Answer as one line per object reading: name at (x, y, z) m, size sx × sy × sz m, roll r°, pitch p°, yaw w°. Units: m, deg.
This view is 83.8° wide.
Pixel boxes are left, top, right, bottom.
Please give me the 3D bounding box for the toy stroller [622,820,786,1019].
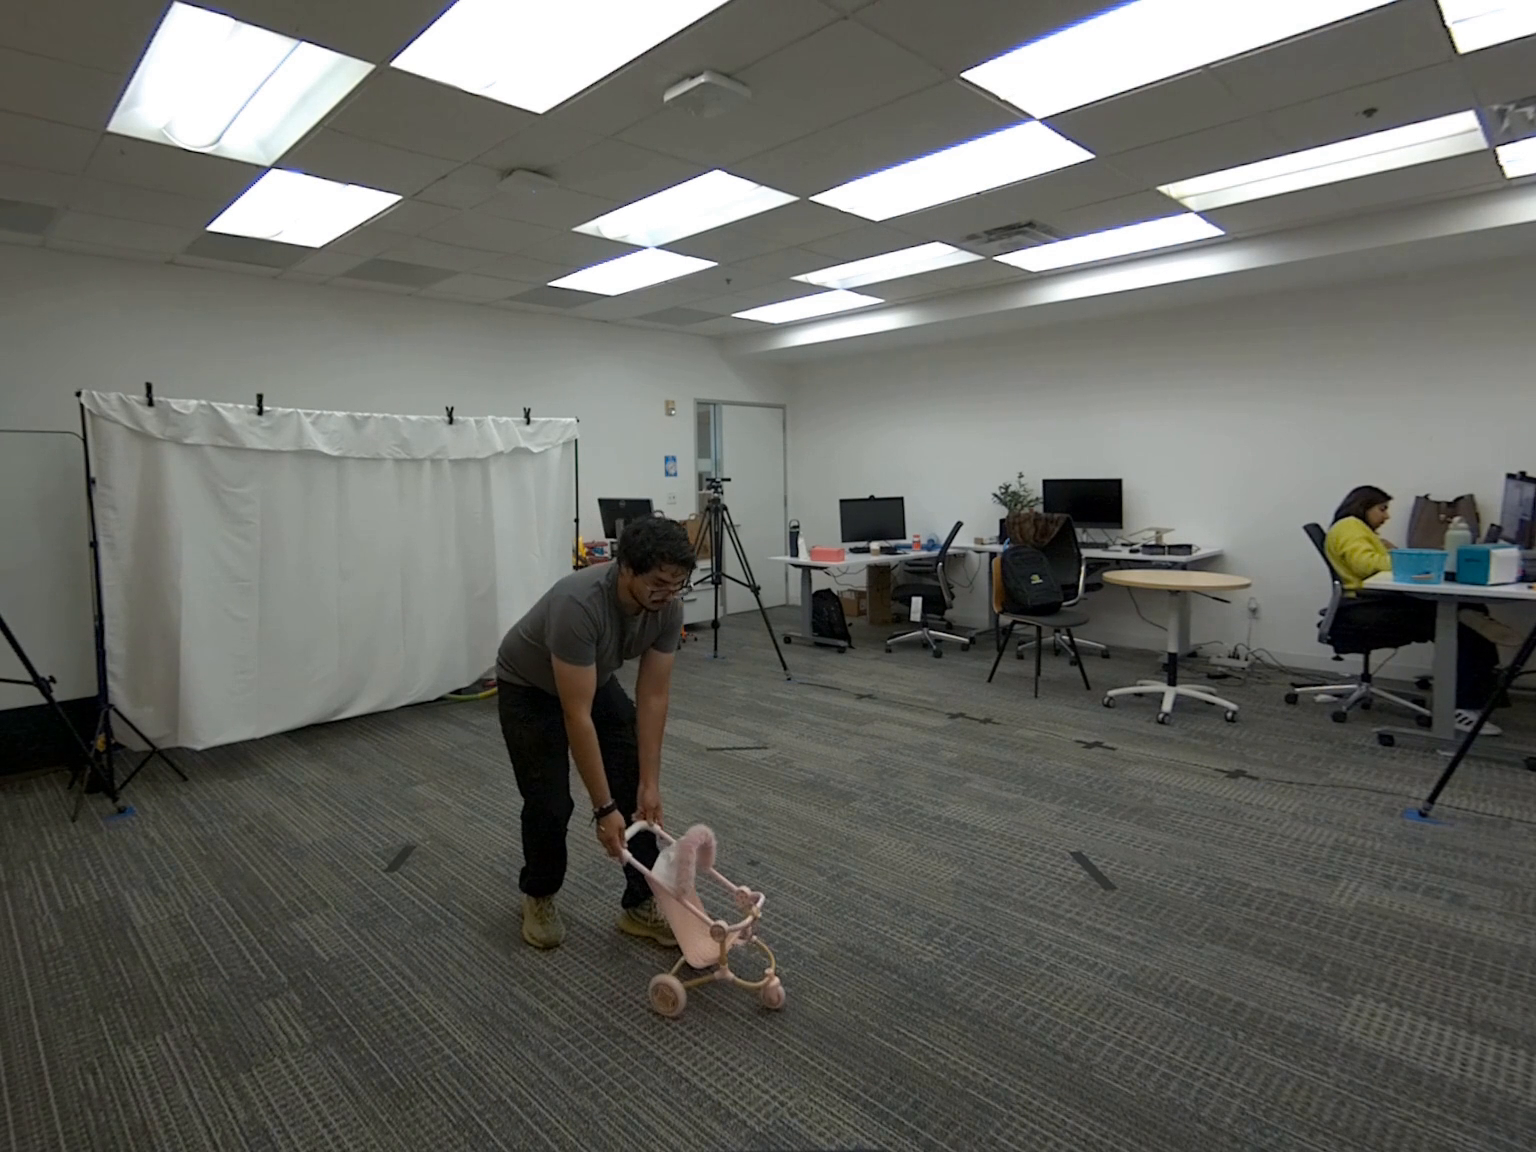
toy stroller at (-0.163, 0.916, 2.309) m, size 0.346 × 0.537 × 0.276 m, roll -17°, pitch -2°, yaw 24°
